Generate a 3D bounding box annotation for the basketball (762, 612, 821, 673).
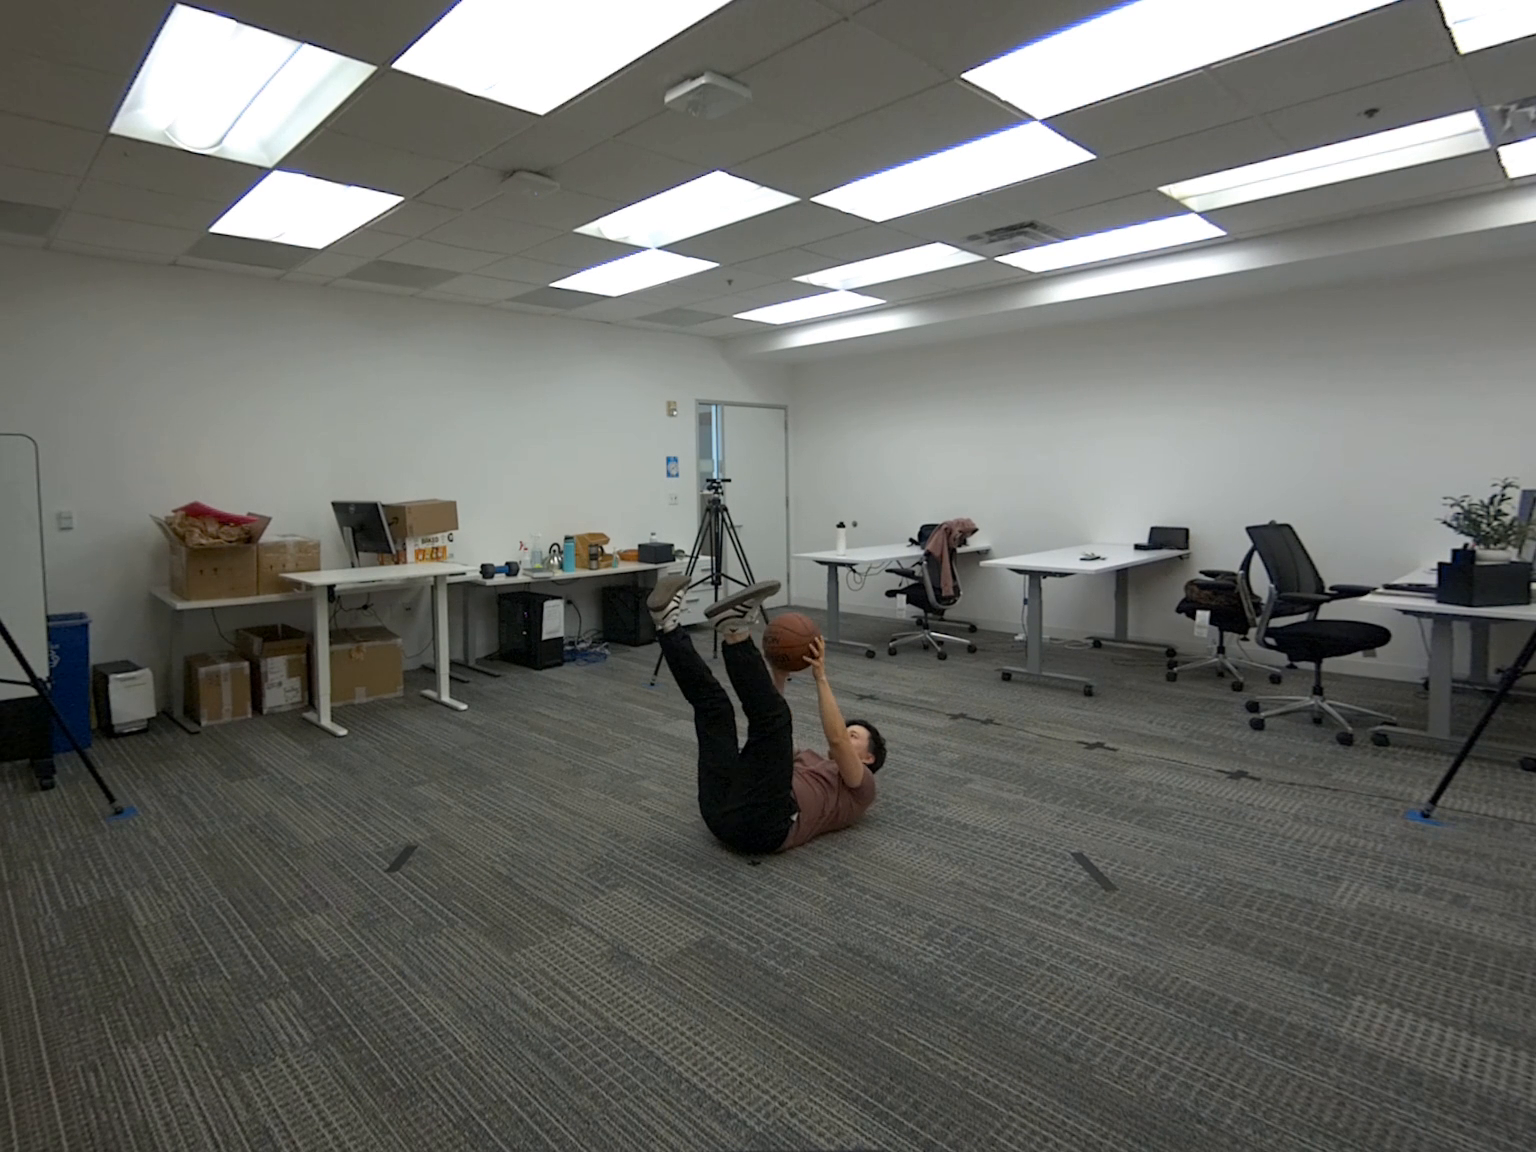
[{"bbox_3d":[0.093,0.271,3.410,0.236,0.235,0.237,-2,5,-2],"label":"basketball"}]
